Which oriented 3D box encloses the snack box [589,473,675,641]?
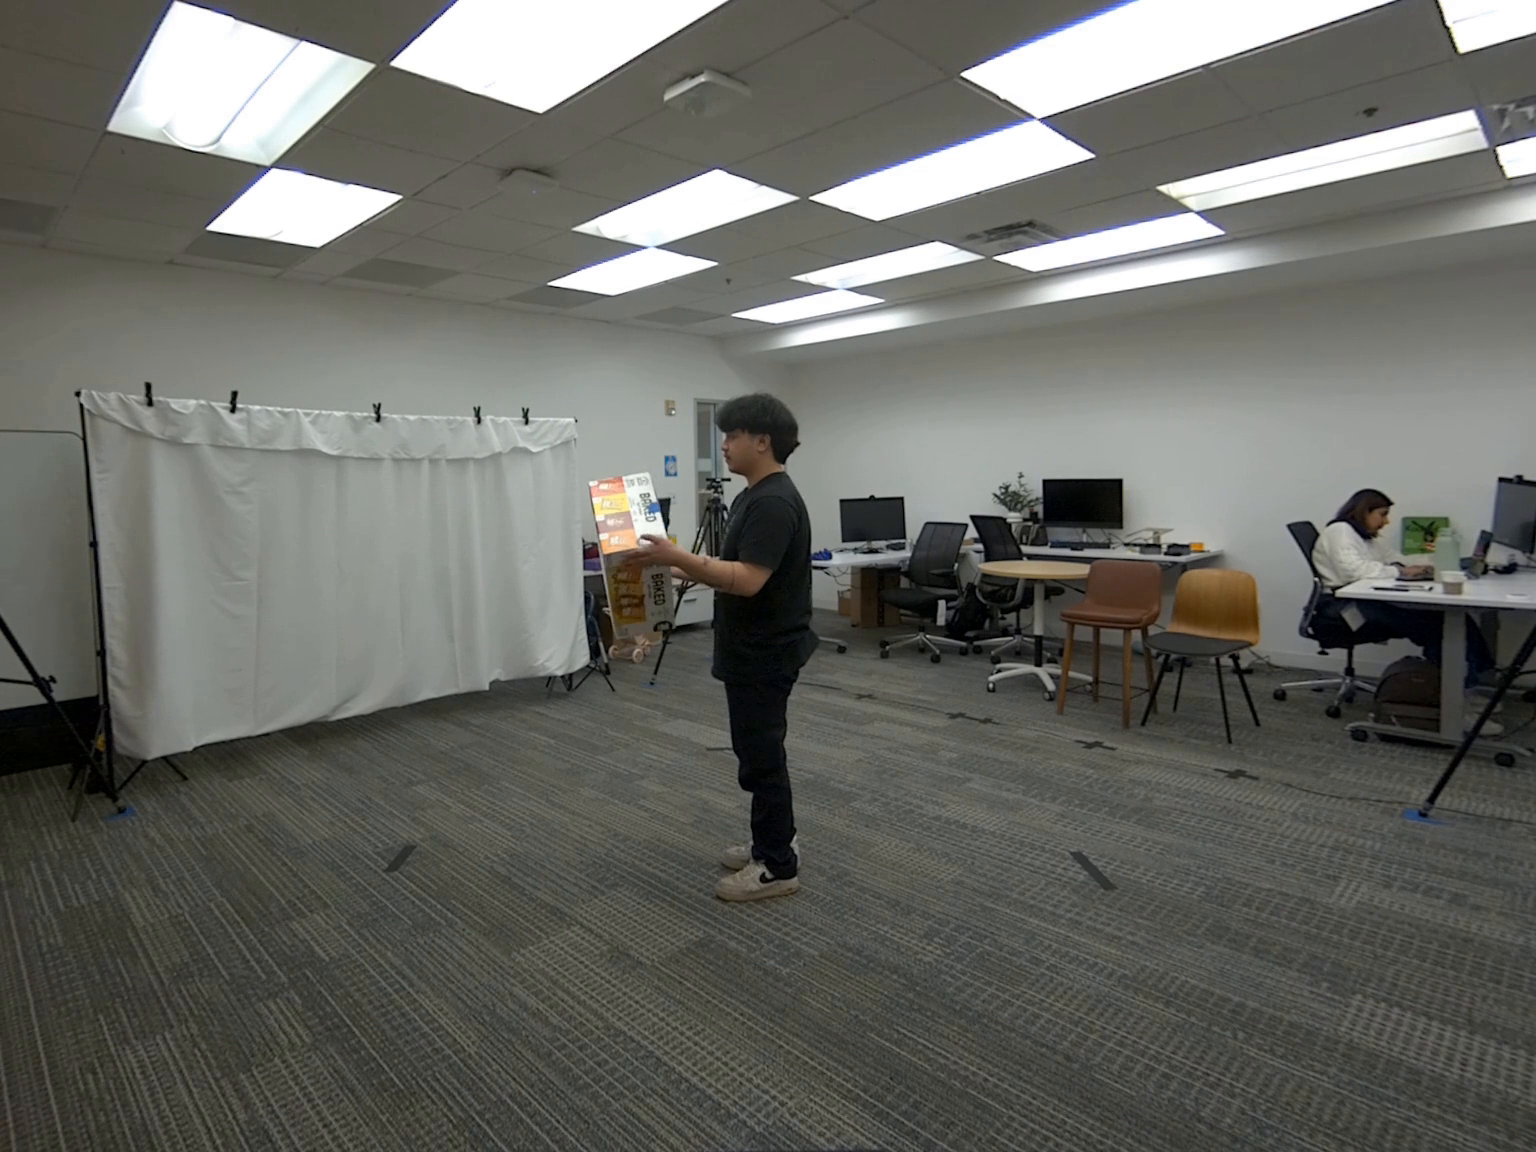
[{"bbox_3d":[-0.448,-0.069,2.790,0.204,0.394,0.352,-9,47,-11],"label":"snack box"}]
